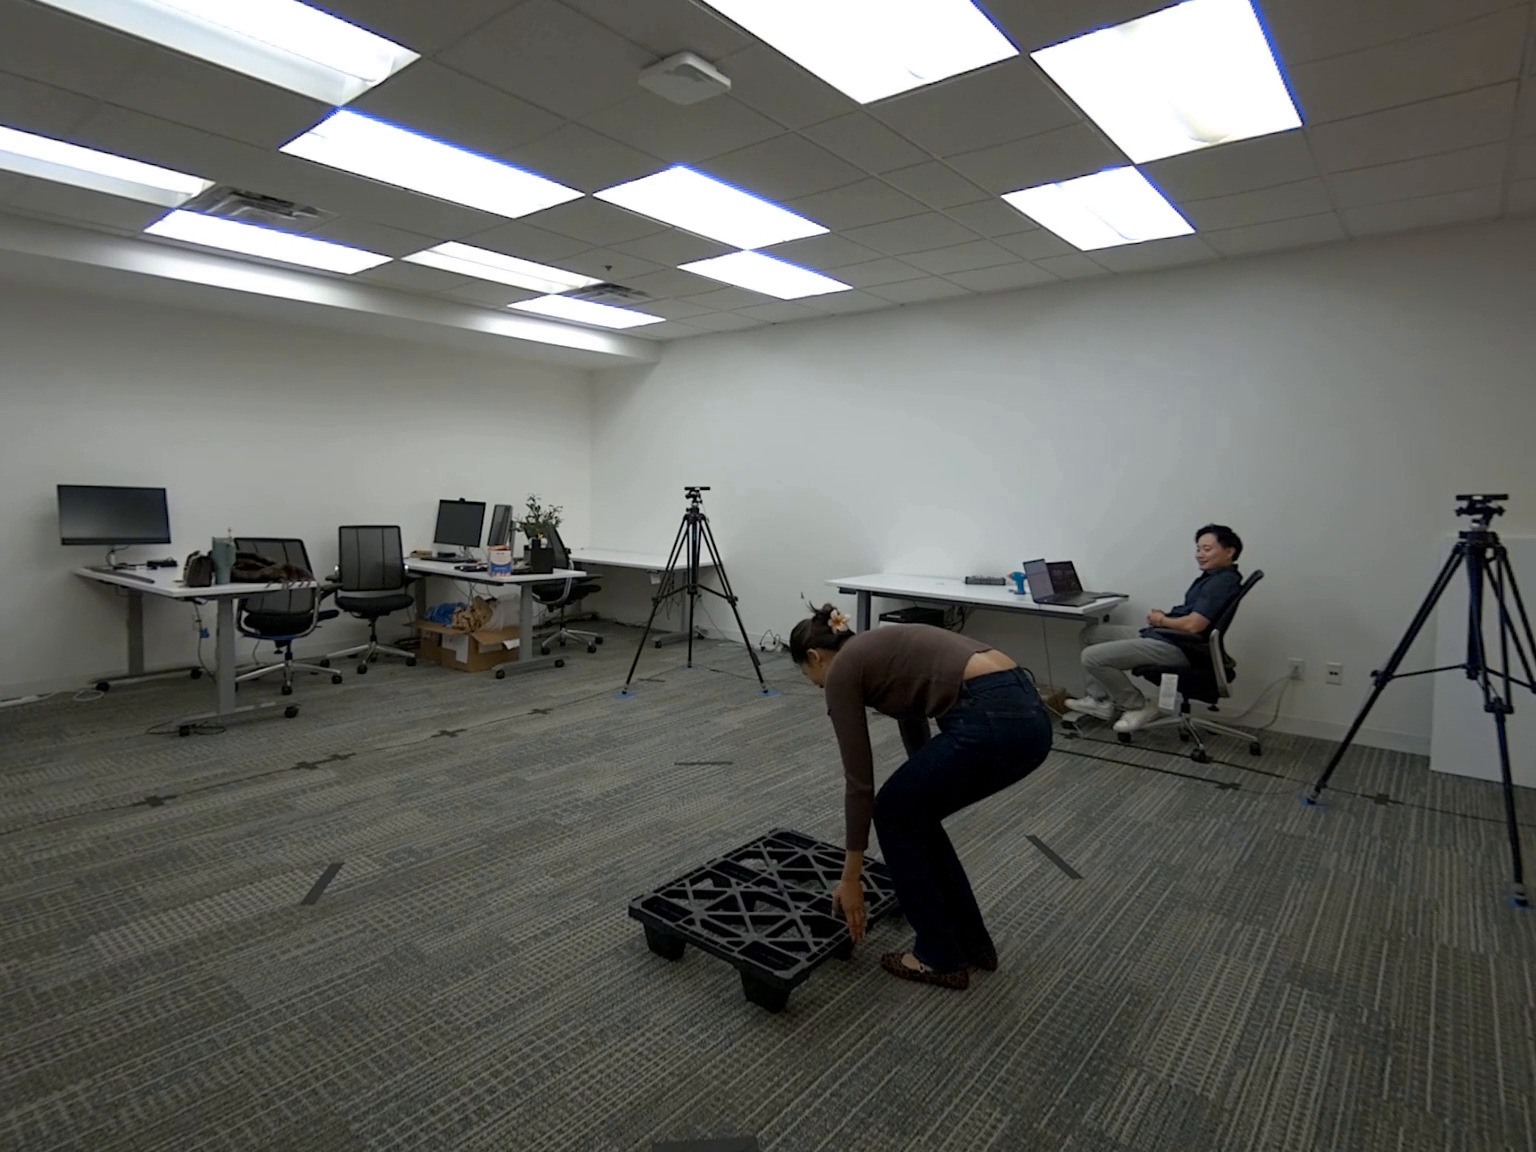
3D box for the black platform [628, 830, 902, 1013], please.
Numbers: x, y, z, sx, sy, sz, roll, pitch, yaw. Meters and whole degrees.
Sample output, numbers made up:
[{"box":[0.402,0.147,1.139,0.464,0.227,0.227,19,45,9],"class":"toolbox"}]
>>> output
[{"box":[0.033,1.045,2.677,0.625,0.143,0.782,5,6,38],"class":"black platform"}]
